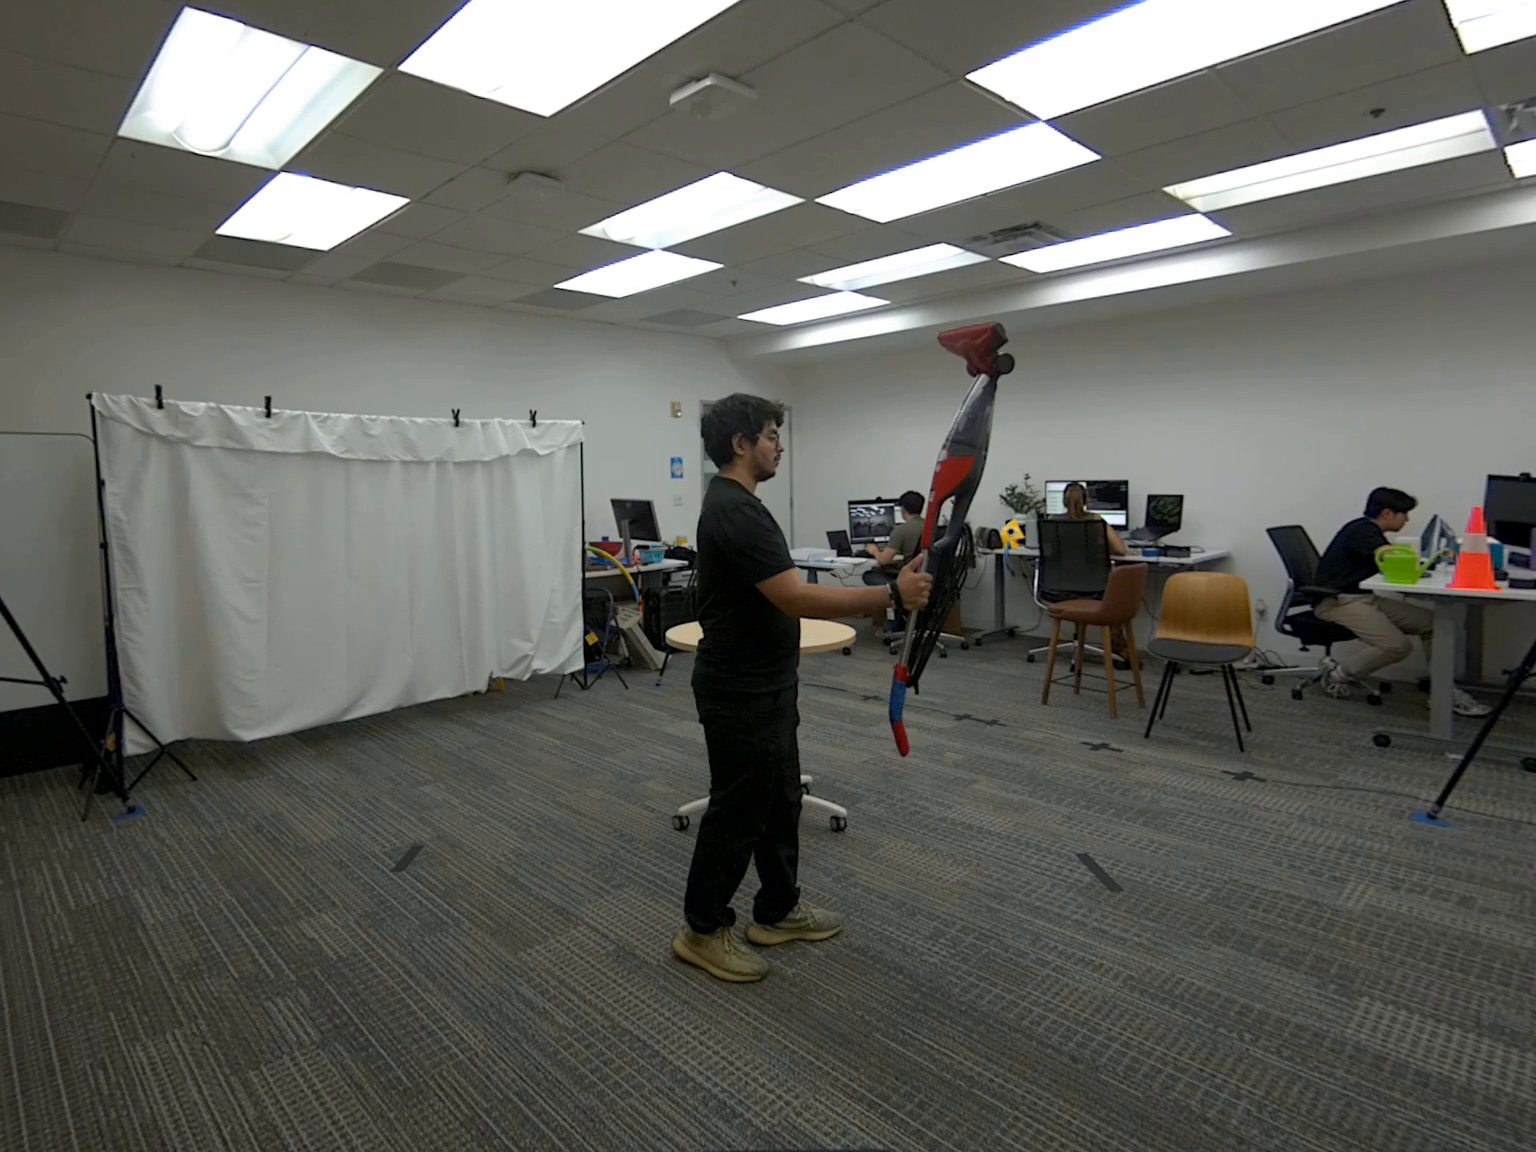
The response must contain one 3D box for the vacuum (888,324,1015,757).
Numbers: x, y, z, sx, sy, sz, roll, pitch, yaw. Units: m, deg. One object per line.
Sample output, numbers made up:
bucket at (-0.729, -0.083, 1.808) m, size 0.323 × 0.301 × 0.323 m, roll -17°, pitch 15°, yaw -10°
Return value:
vacuum at (0.441, -0.066, 2.171) m, size 0.142 × 1.044 × 0.258 m, roll 9°, pitch 6°, yaw -16°
